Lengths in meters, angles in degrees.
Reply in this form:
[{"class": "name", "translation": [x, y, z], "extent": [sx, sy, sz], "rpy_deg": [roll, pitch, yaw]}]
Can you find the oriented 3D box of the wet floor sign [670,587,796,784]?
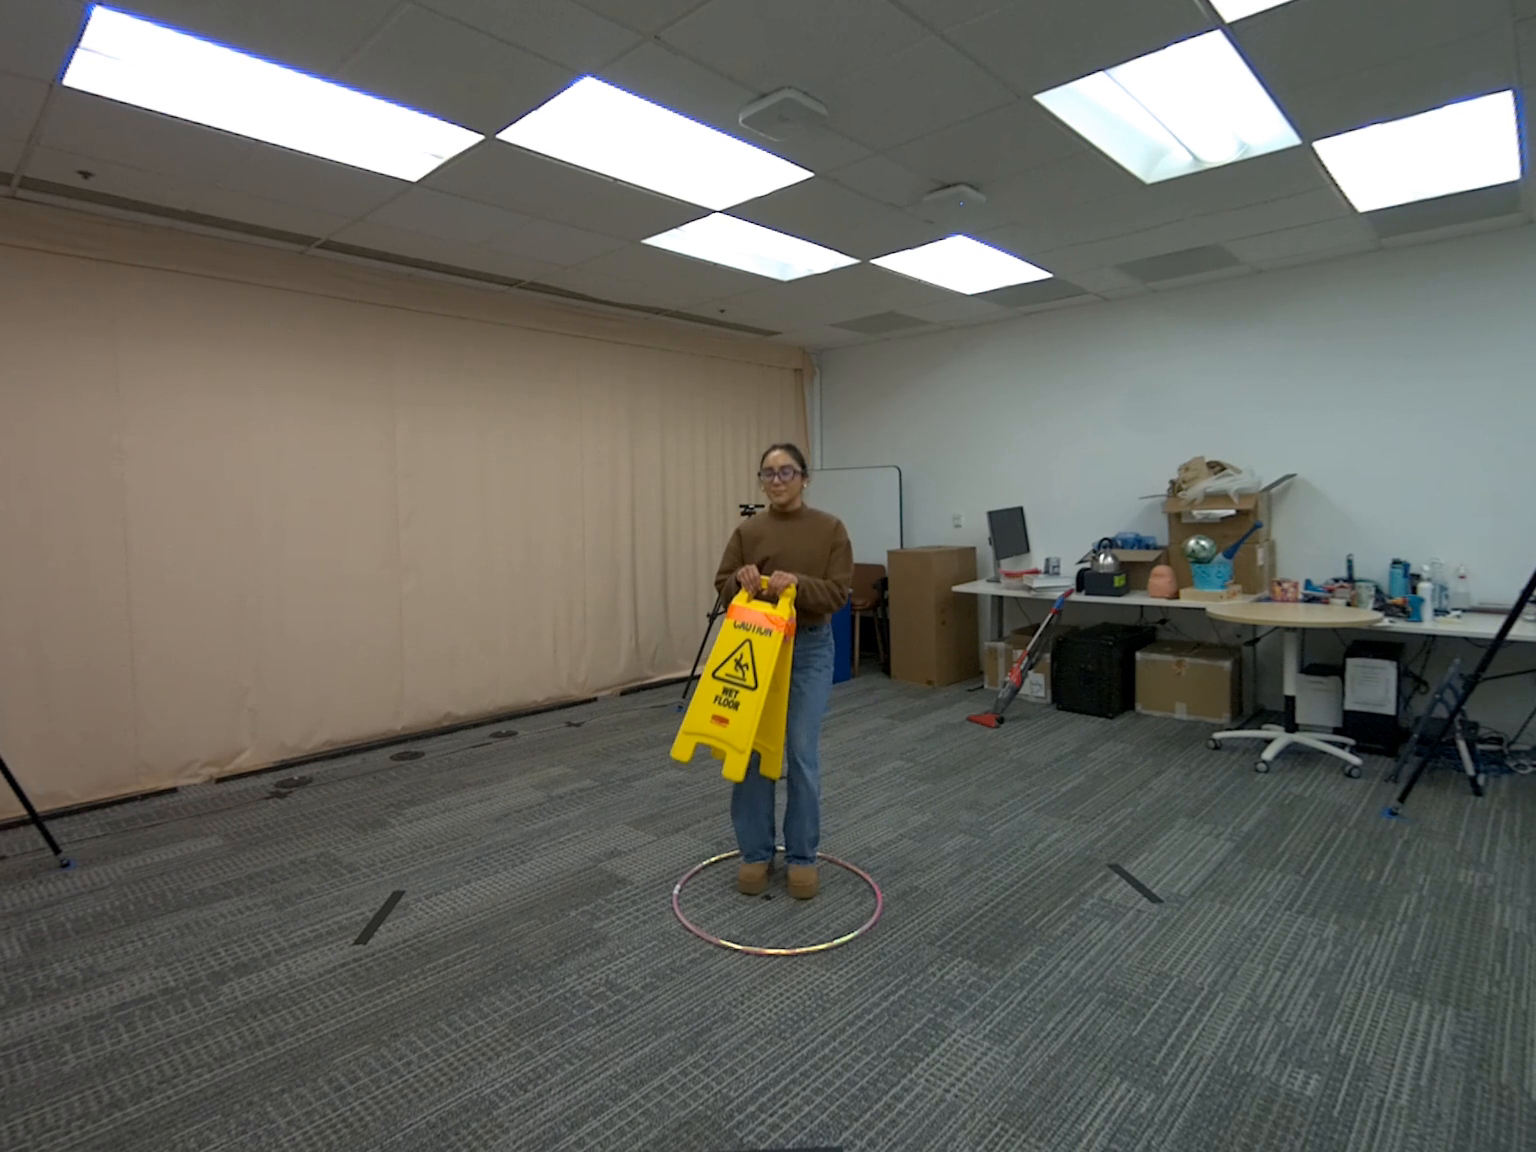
[{"class": "wet floor sign", "translation": [-0.058, 0.322, 2.827], "extent": [0.291, 0.647, 0.280], "rpy_deg": [9, -5, 30]}]
